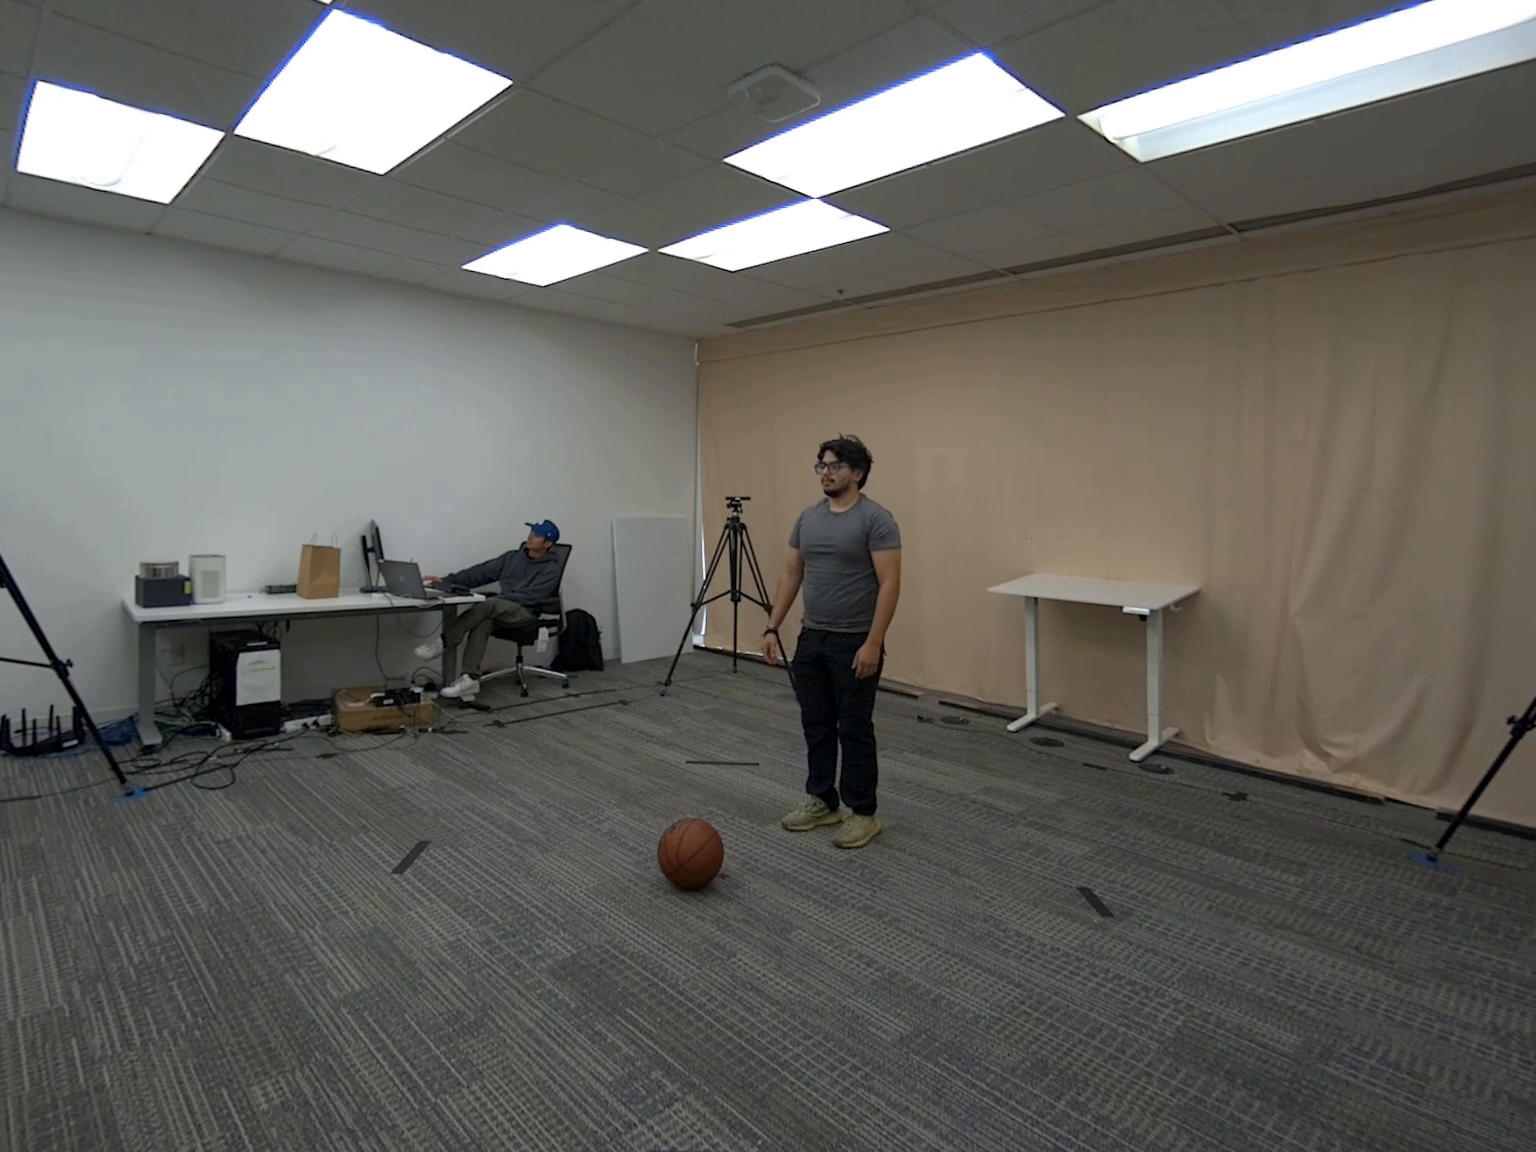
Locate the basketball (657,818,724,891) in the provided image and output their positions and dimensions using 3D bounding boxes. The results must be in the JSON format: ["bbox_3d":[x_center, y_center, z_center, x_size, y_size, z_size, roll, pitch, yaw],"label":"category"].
[{"bbox_3d":[-0.282,0.992,3.009,0.236,0.235,0.237,1,4,-1],"label":"basketball"}]
